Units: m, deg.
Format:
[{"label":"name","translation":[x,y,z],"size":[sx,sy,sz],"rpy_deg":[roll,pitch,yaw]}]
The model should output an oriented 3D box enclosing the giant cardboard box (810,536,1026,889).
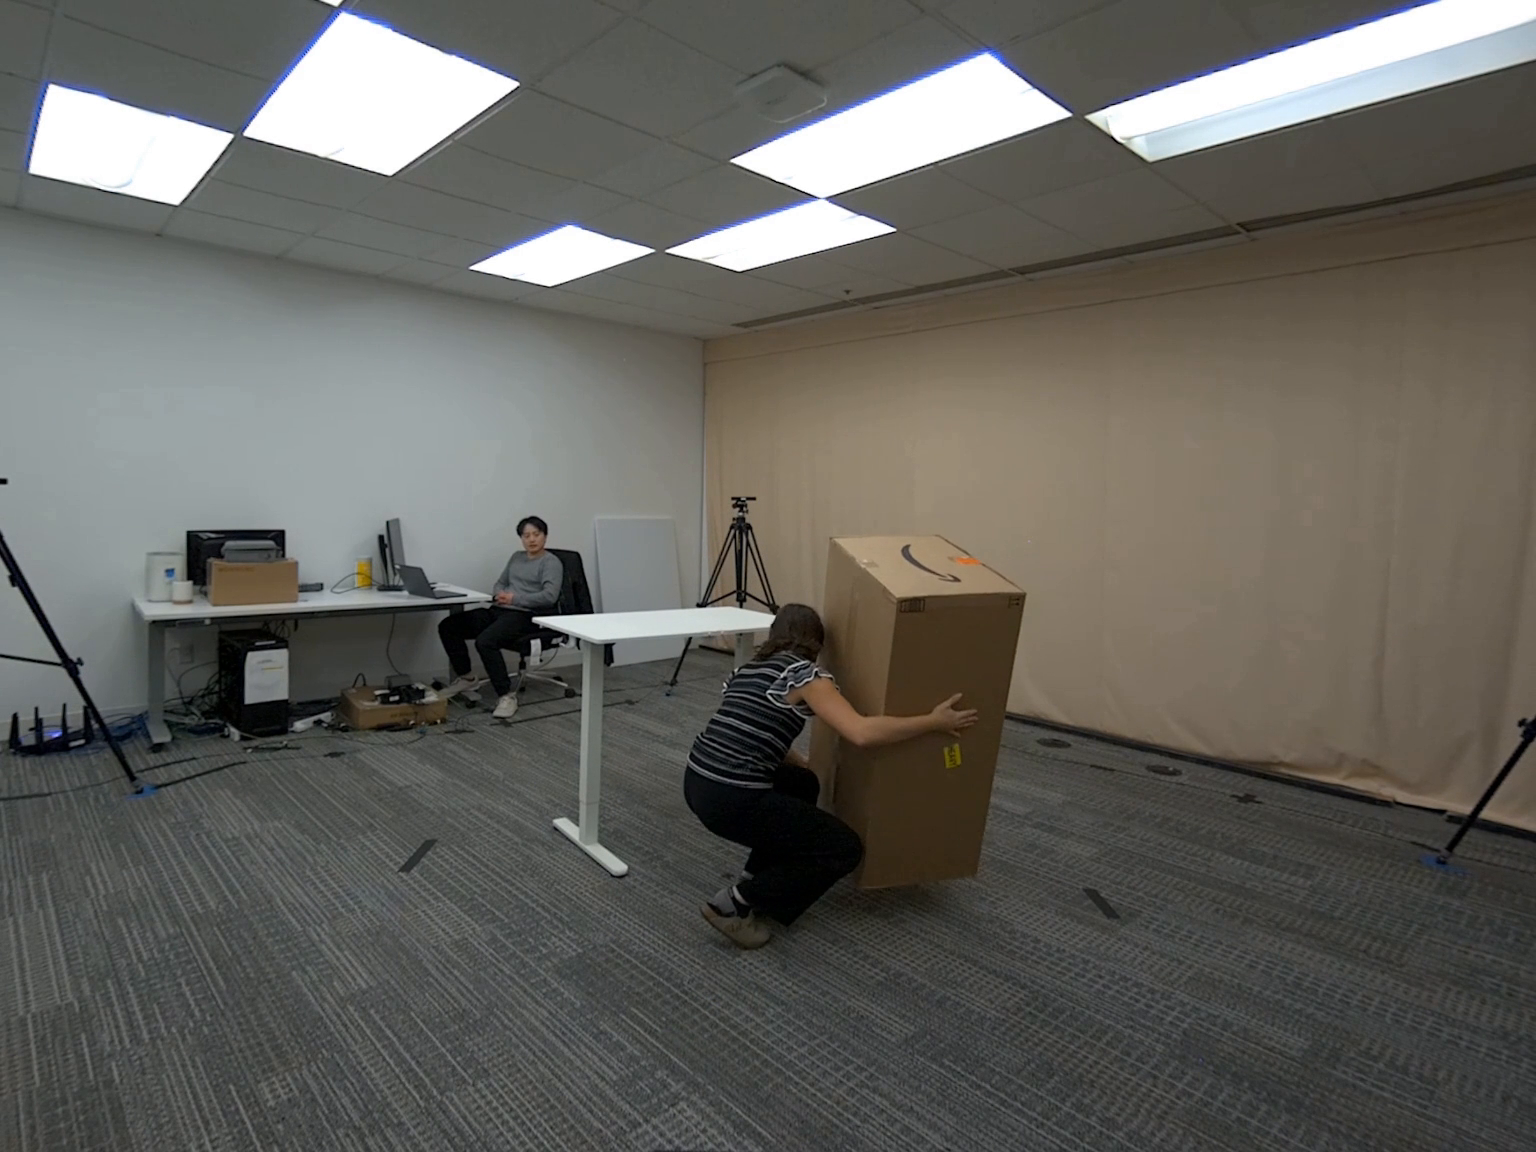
[{"label":"giant cardboard box","translation":[0.453,0.431,2.879],"size":[0.421,1.014,0.591],"rpy_deg":[-1,18,-15]}]
